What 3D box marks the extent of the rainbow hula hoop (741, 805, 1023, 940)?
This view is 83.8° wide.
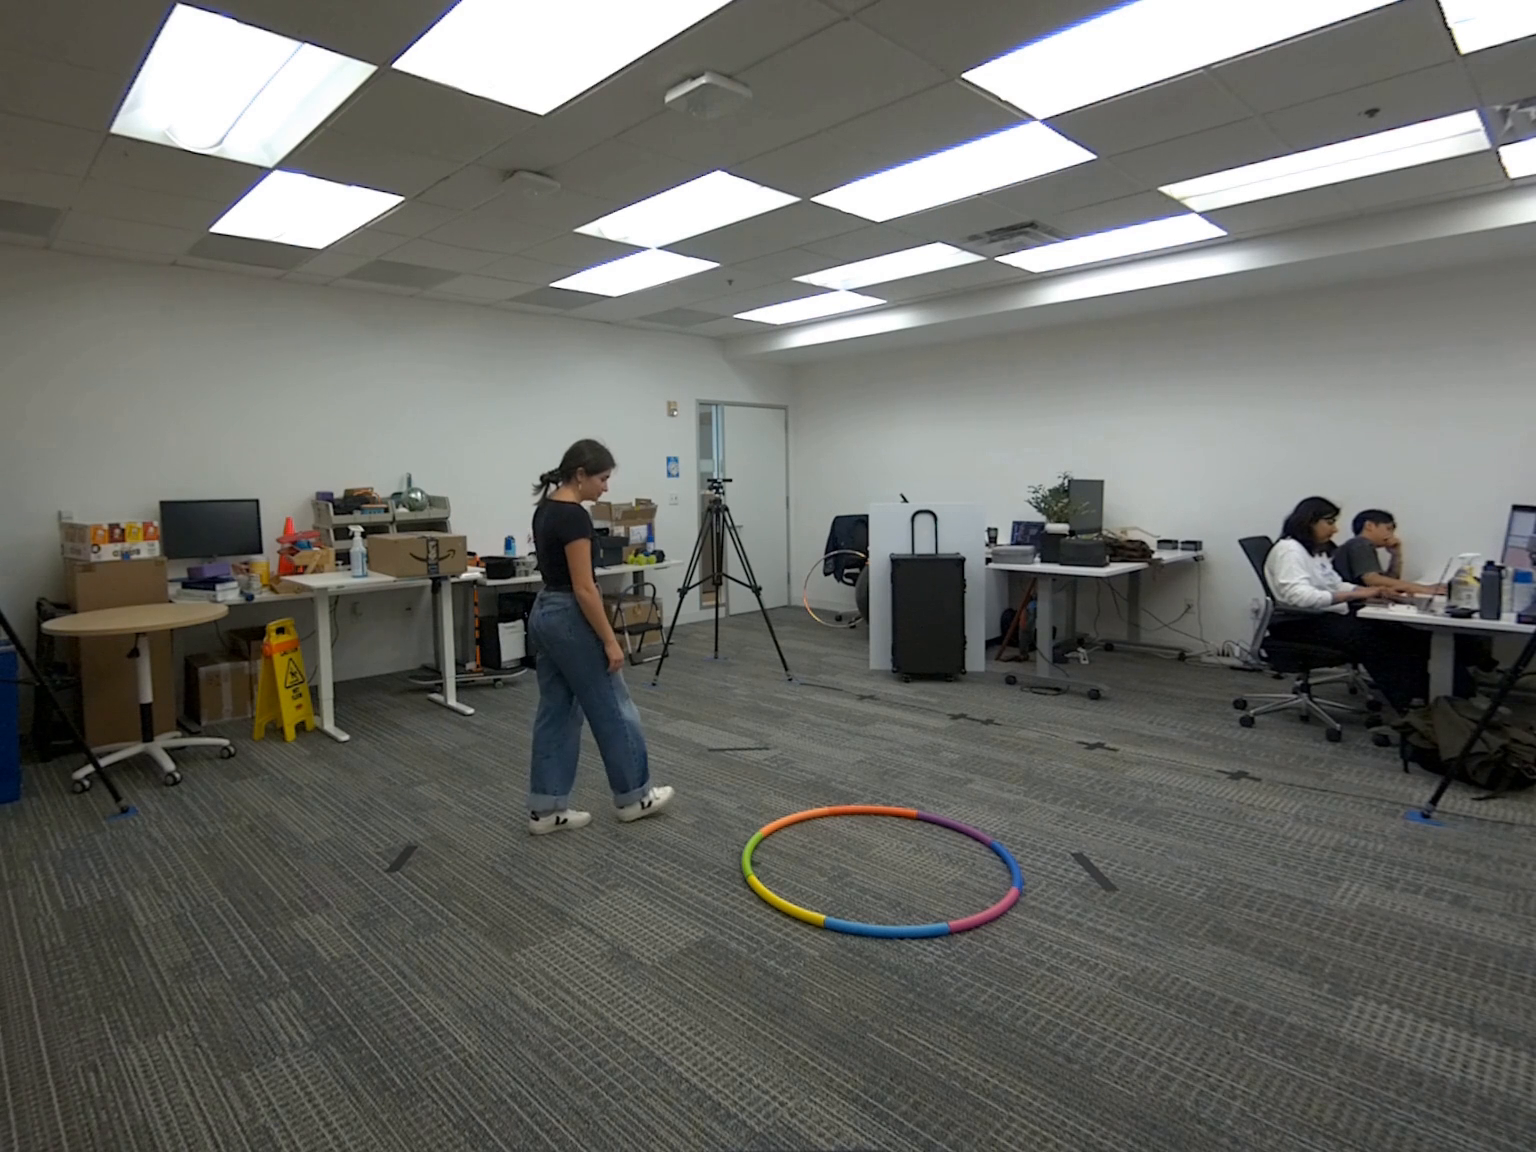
[{"bbox_3d":[0.391,1.012,3.074,0.978,0.035,0.984,-1,6,-2],"label":"rainbow hula hoop"}]
